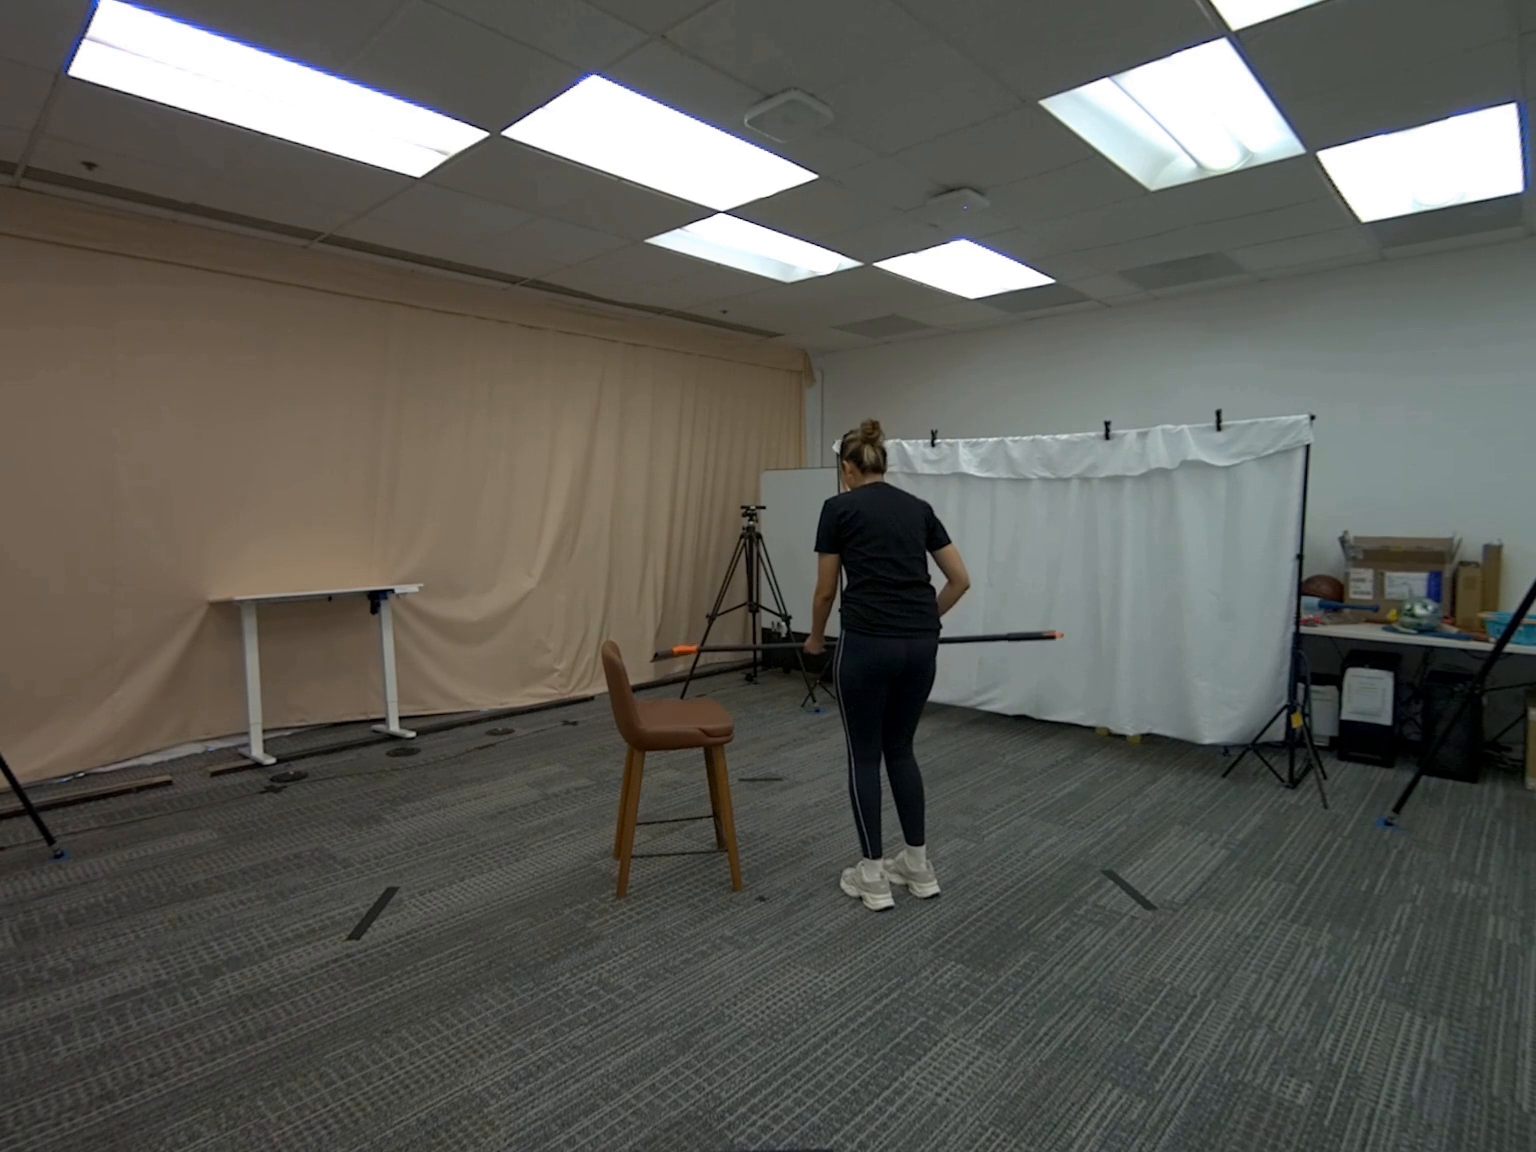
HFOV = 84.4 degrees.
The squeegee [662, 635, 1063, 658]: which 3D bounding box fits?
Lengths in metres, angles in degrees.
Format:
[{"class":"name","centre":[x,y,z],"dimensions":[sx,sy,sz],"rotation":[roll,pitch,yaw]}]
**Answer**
[{"class":"squeegee","centre":[0.321,0.301,3.333],"dimensions":[1.564,0.053,0.428],"rotation":[-1,-7,16]}]
